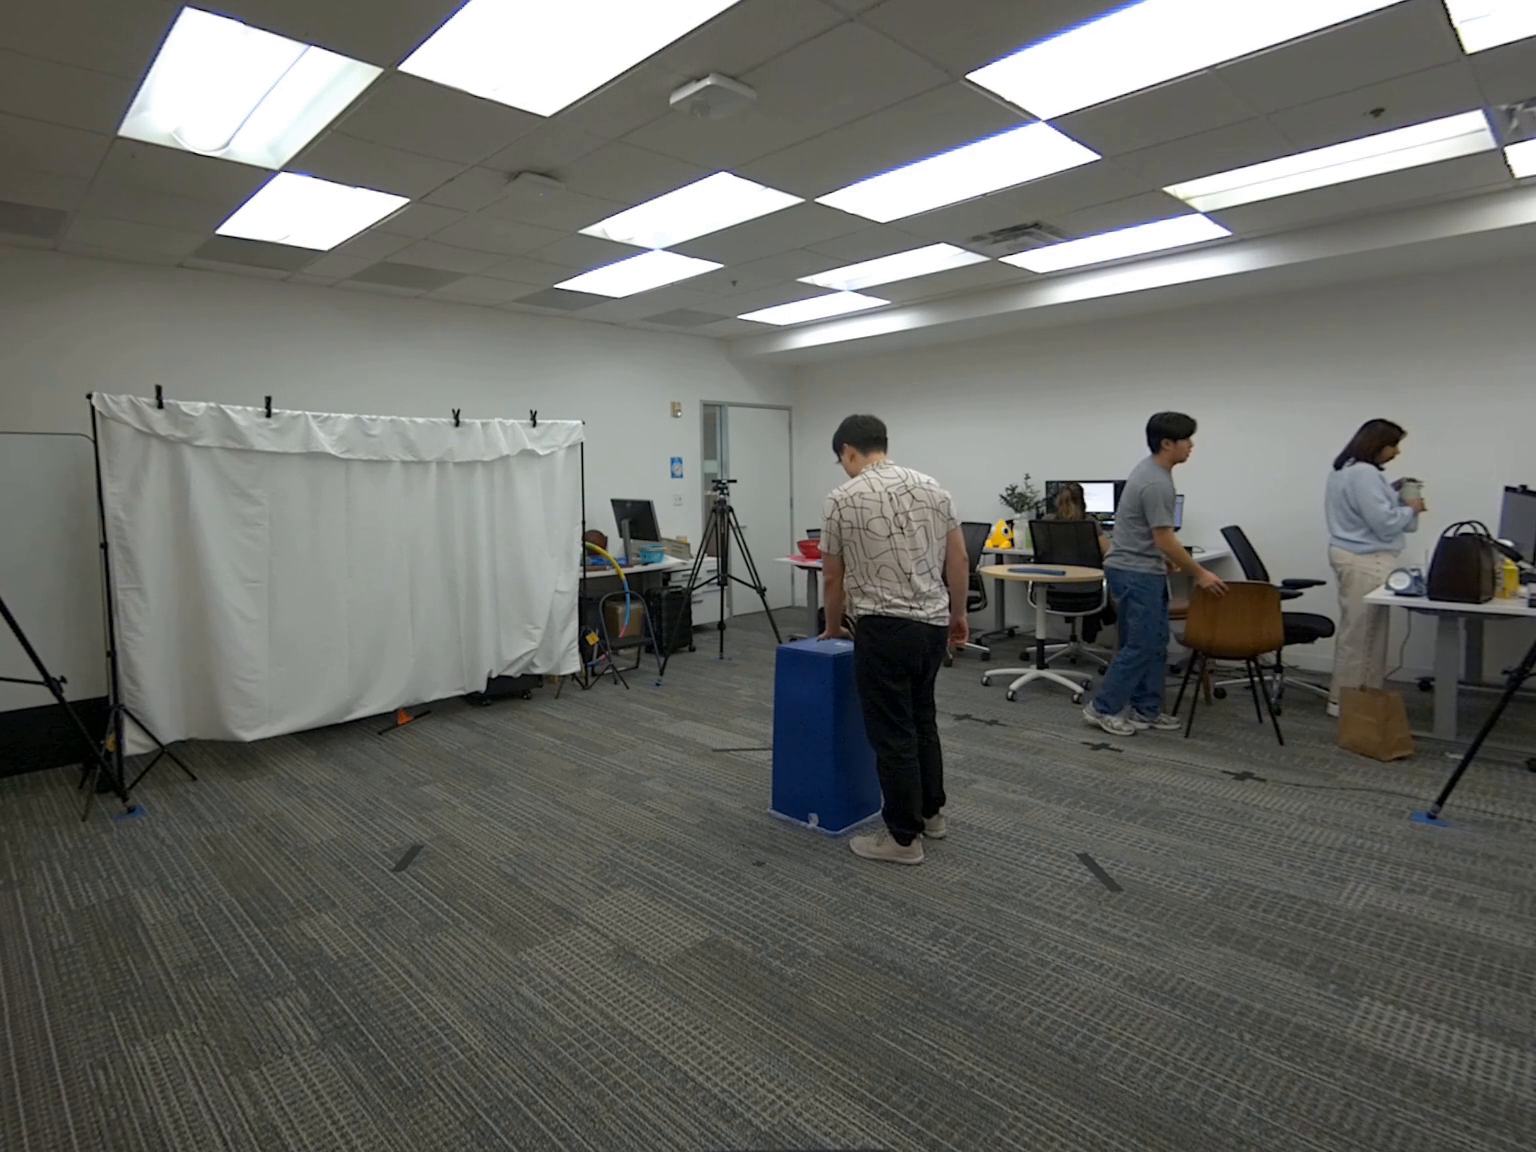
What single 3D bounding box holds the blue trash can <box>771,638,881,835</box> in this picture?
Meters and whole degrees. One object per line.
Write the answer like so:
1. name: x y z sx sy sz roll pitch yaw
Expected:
1. blue trash can: 0.253 0.639 3.550 0.390 0.711 0.364 3 5 44
